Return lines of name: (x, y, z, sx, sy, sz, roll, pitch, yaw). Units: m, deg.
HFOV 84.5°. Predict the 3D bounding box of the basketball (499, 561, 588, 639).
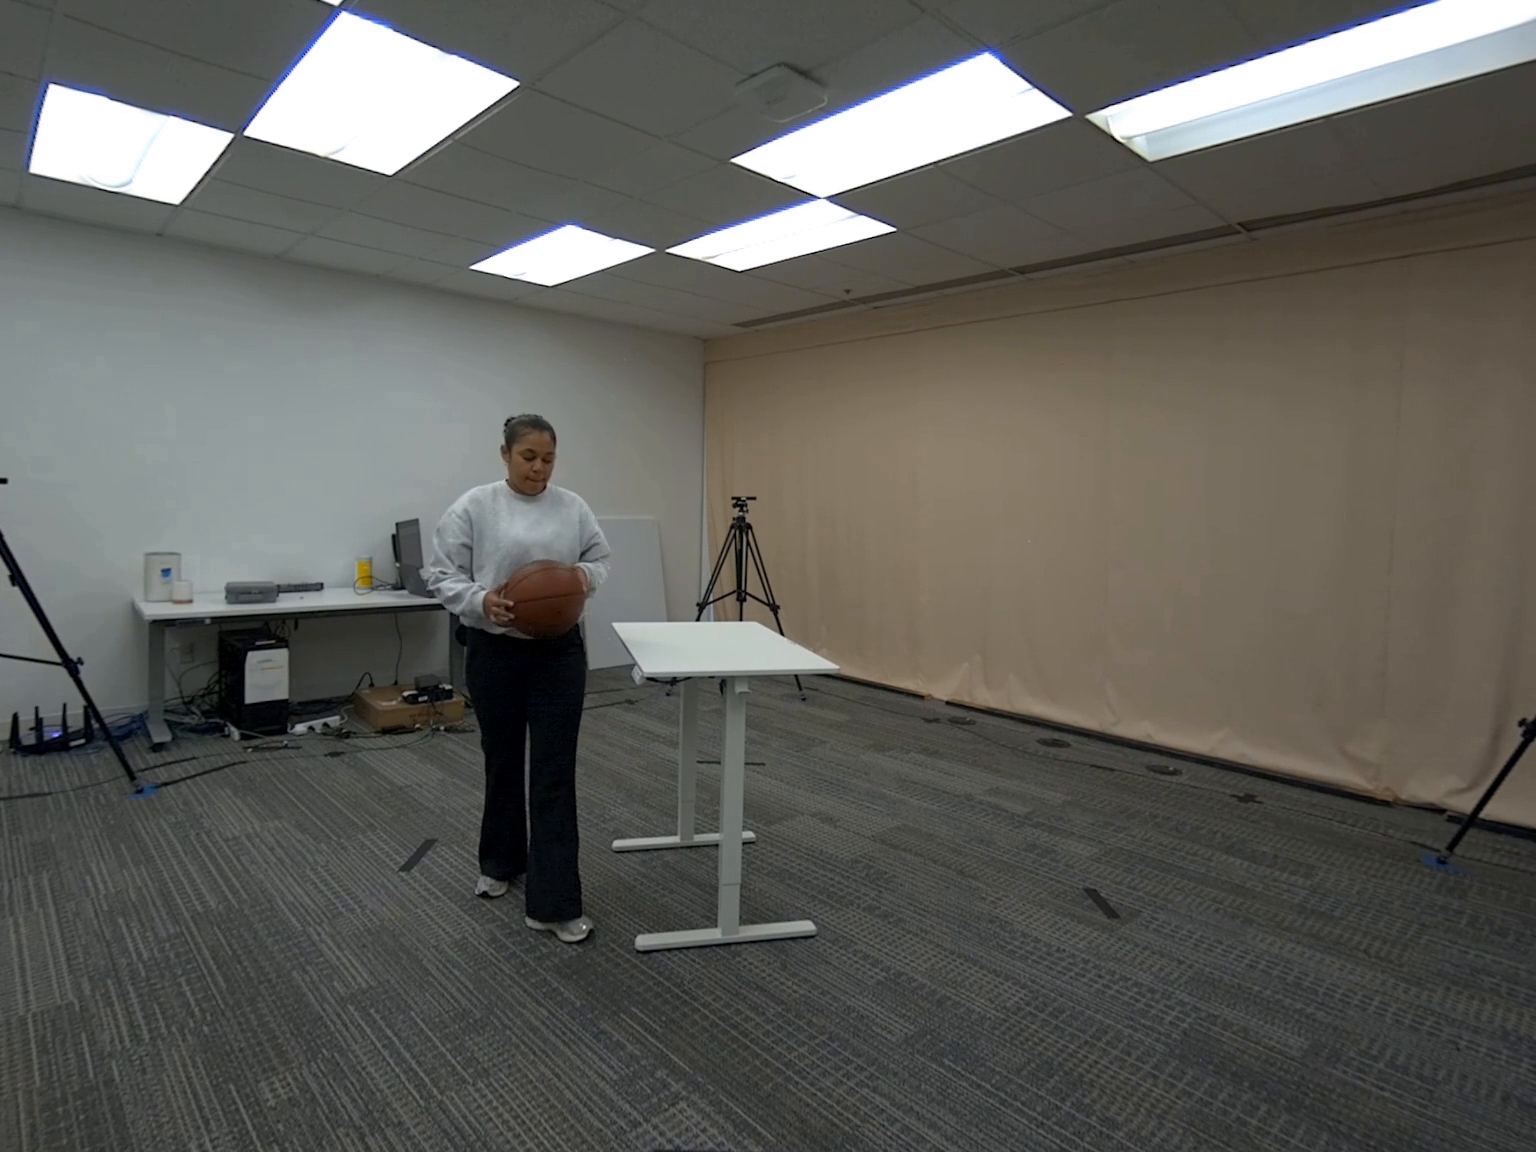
basketball: (-0.690, 0.071, 2.540, 0.236, 0.235, 0.237, 1, 4, -1)
